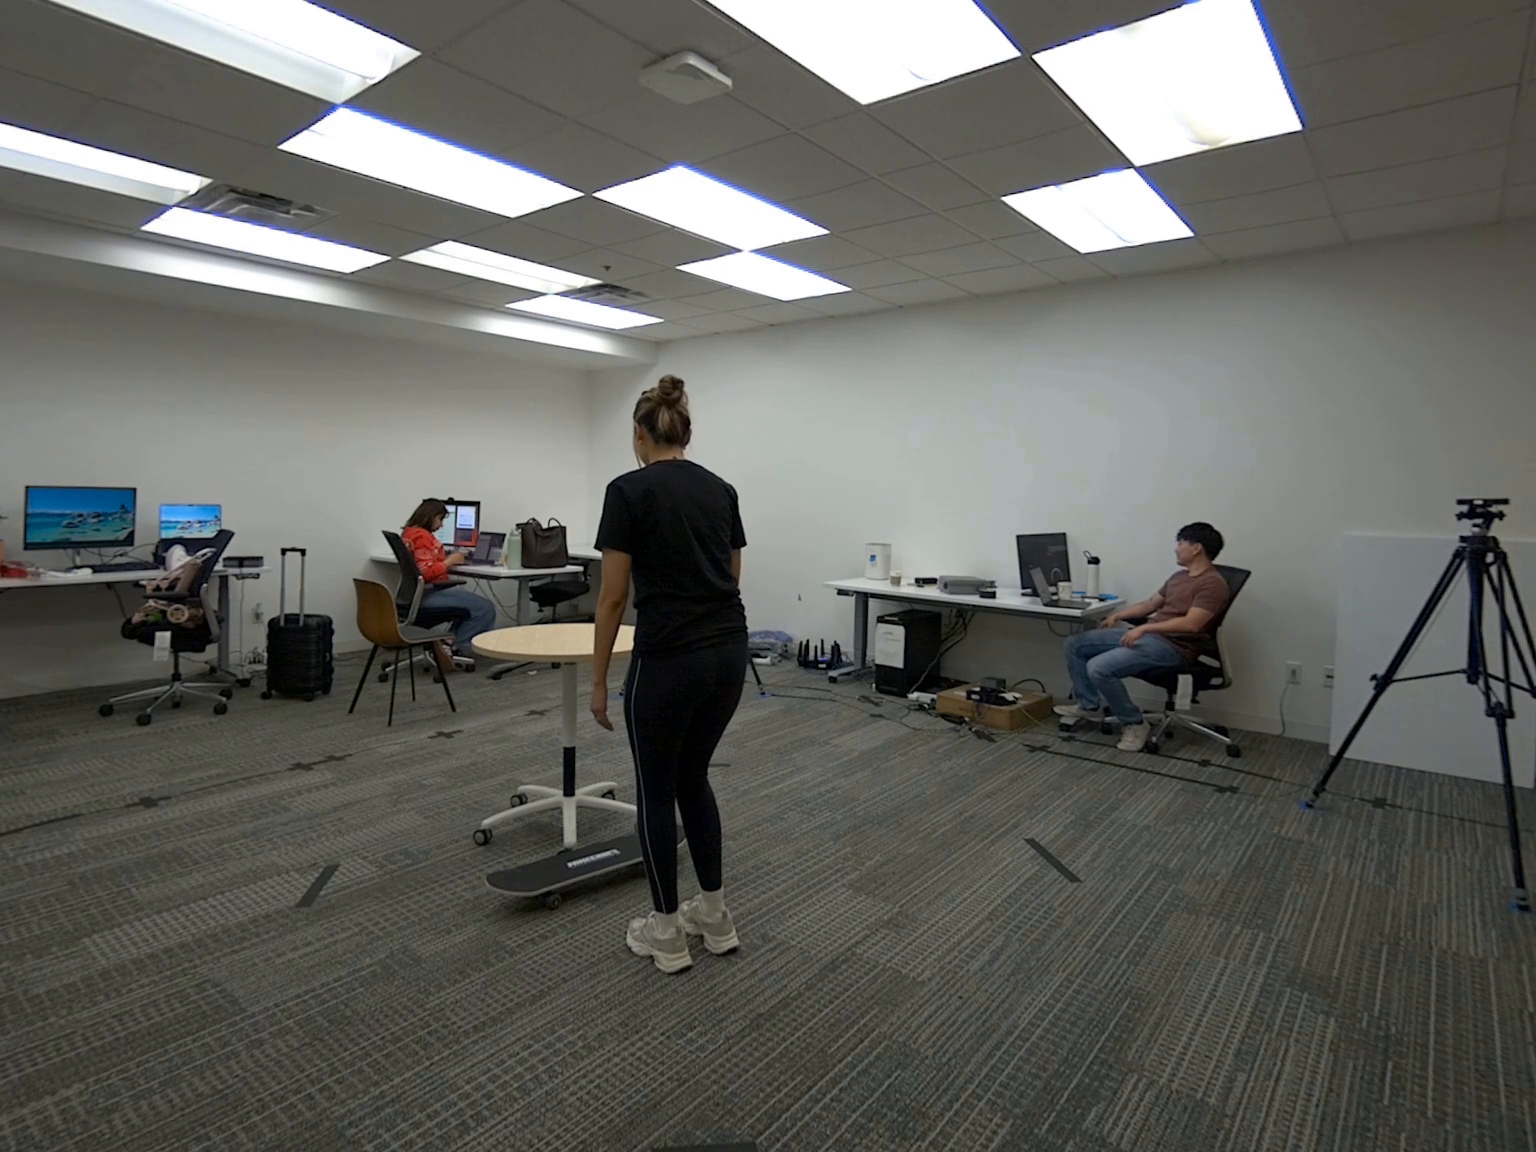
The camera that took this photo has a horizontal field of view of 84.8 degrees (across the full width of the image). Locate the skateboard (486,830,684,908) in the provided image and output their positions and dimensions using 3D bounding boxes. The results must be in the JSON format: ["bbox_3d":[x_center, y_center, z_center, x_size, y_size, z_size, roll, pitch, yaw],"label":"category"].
[{"bbox_3d":[-0.620,1.020,2.985,0.762,0.110,0.200,-4,7,-41],"label":"skateboard"}]
